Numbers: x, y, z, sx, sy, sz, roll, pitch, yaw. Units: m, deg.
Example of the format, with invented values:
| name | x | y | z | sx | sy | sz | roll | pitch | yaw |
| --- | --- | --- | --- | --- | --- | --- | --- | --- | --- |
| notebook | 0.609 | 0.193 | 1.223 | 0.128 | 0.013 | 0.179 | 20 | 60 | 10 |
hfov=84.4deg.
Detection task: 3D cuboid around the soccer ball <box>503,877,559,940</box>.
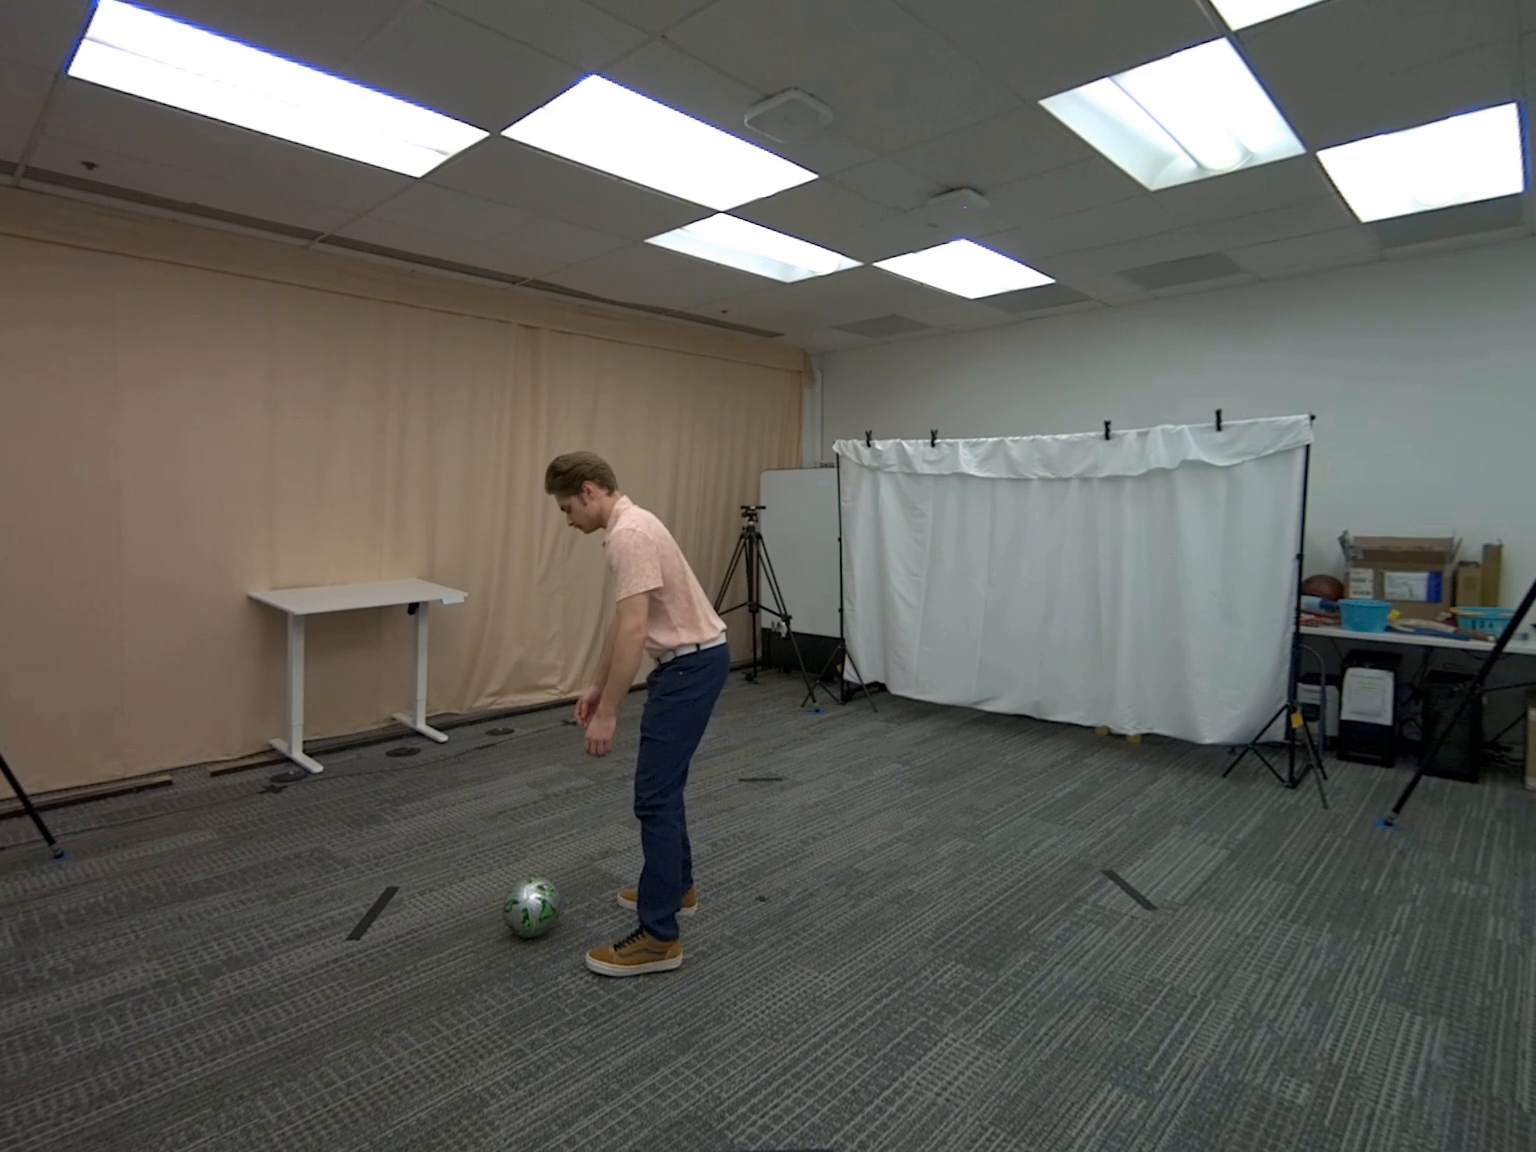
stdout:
| name | x | y | z | sx | sy | sz | roll | pitch | yaw |
| --- | --- | --- | --- | --- | --- | --- | --- | --- | --- |
| soccer ball | -0.767 | 1.079 | 2.738 | 0.187 | 0.187 | 0.188 | 0 | 4 | -2 |
